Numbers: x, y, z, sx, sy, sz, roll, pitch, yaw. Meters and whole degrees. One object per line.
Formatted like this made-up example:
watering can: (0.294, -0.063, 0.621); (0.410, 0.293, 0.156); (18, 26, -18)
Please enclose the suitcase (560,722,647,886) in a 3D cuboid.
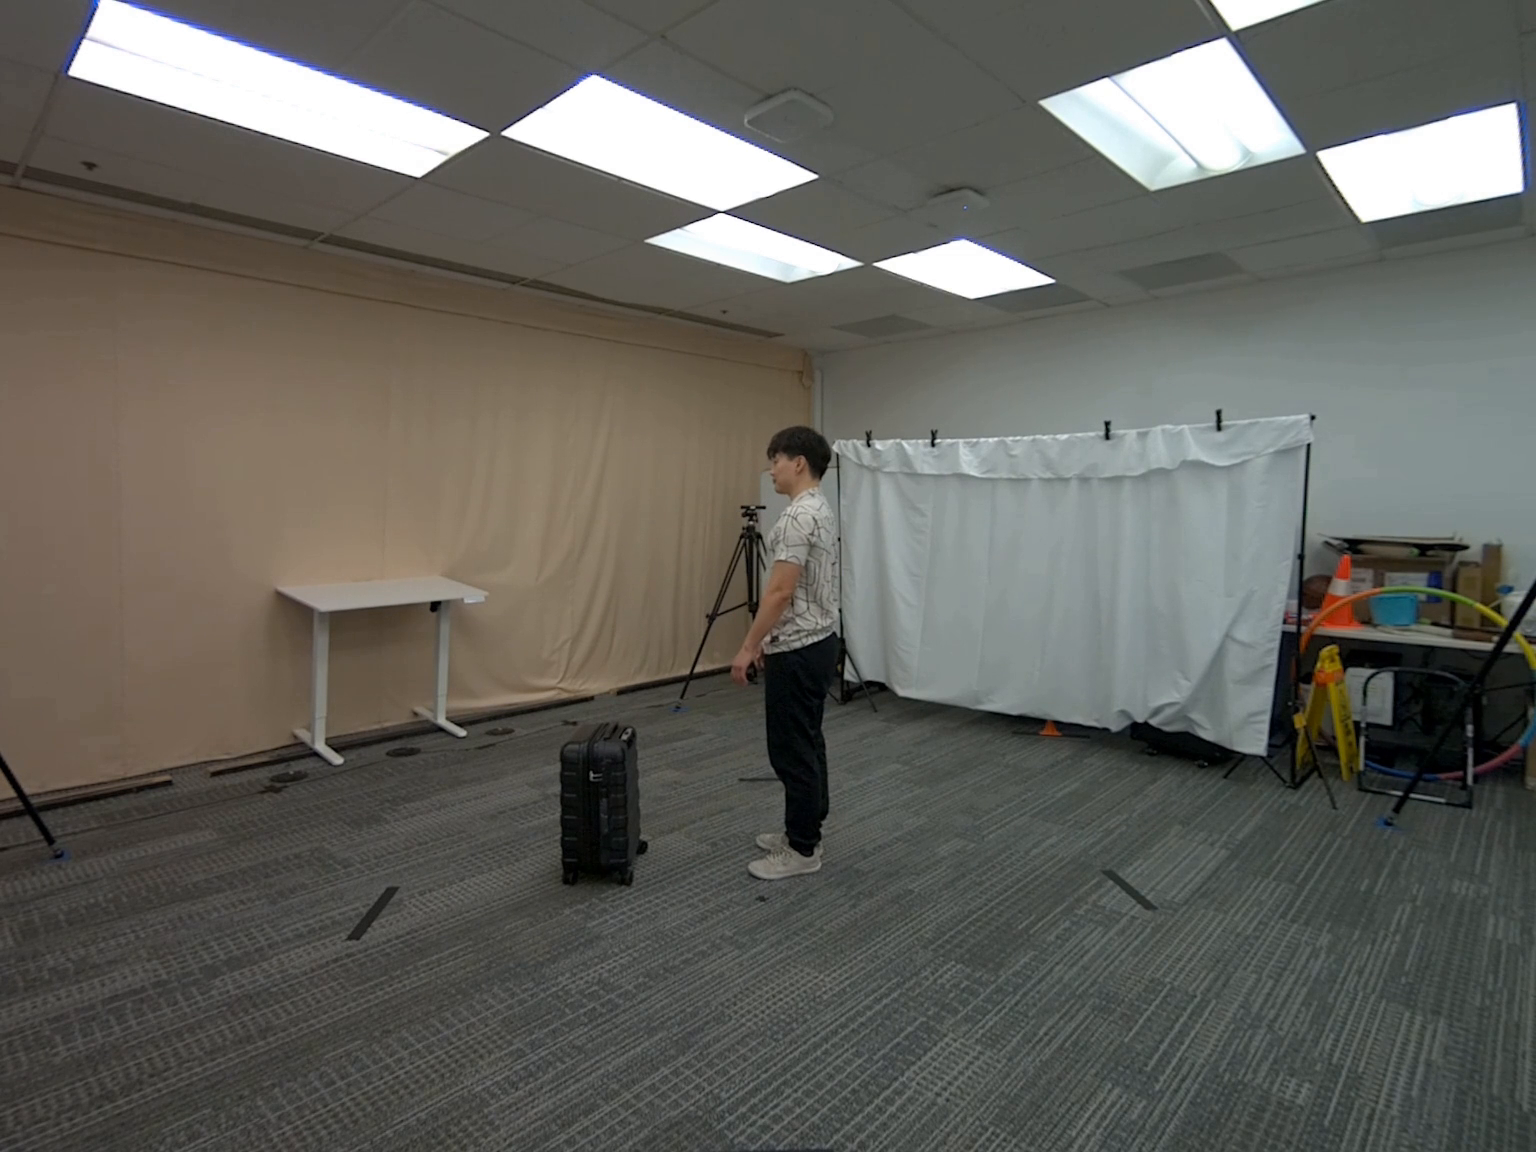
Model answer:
suitcase: (-0.633, 0.856, 3.226); (0.249, 0.548, 0.375); (-1, 4, 1)
